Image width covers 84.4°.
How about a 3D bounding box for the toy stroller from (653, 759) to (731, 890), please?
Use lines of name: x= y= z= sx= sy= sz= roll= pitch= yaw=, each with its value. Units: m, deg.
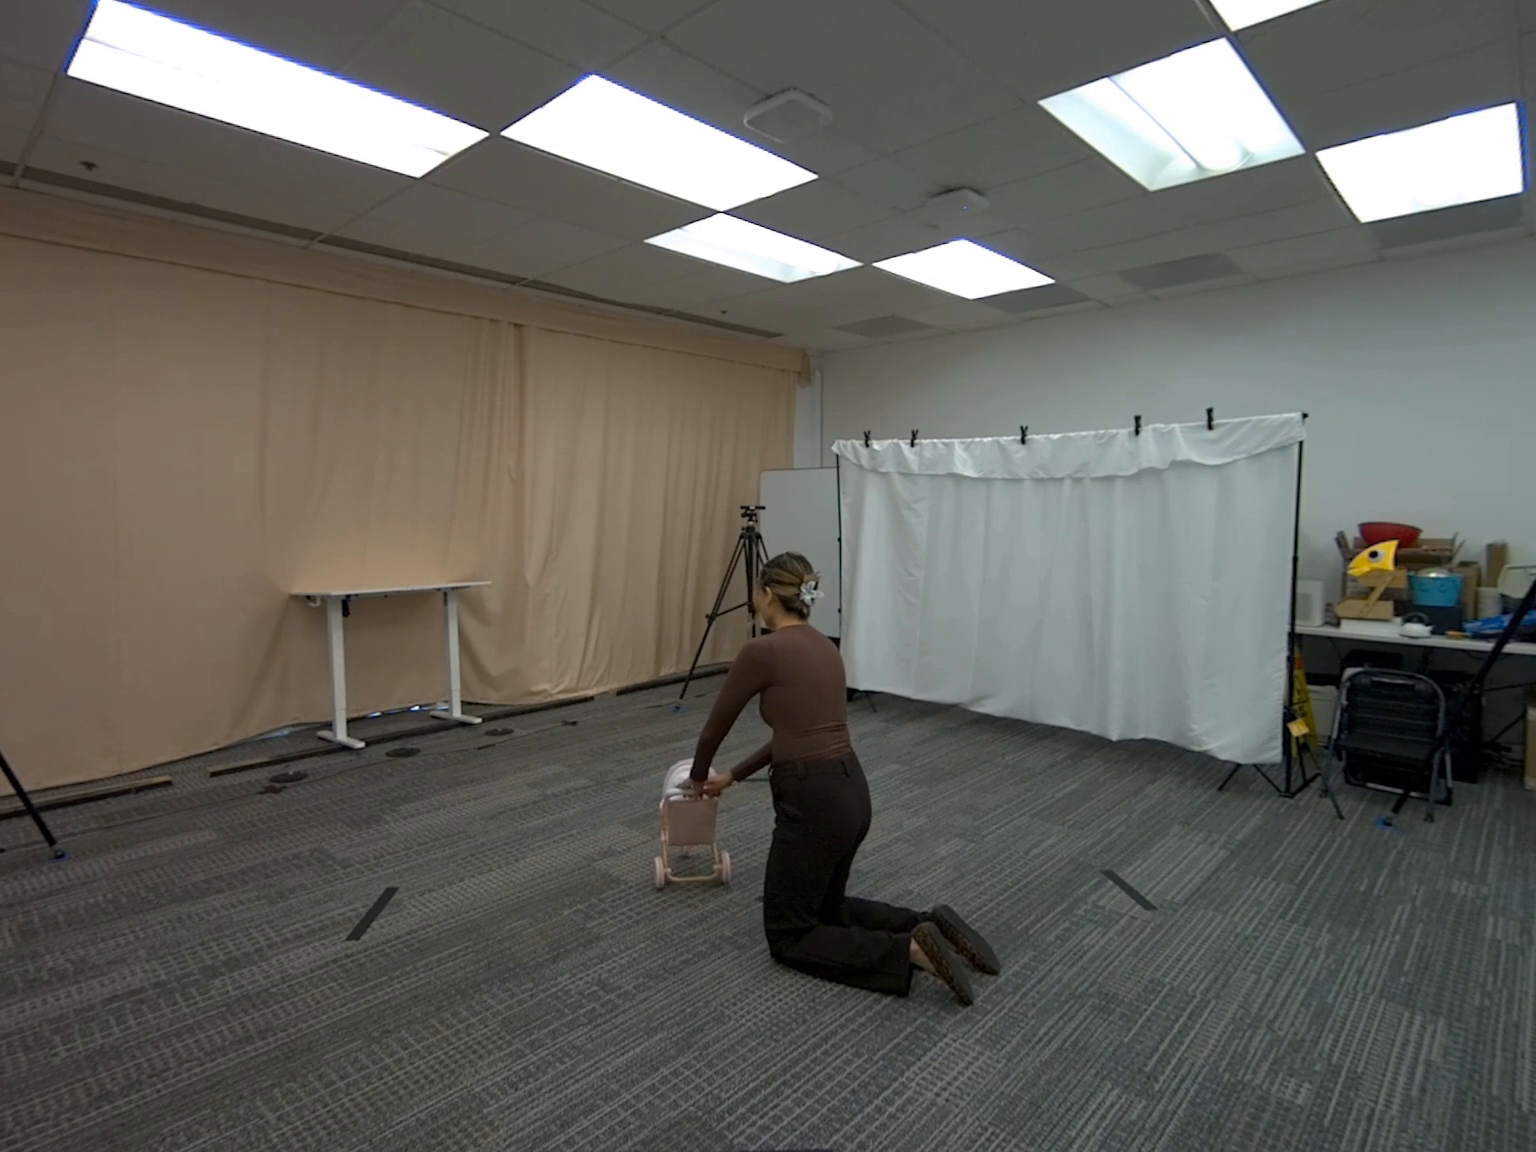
toy stroller: x=-0.286 y=0.906 z=3.145 sx=0.280 sy=0.529 sz=0.347 roll=0 pitch=21 yaw=-6
